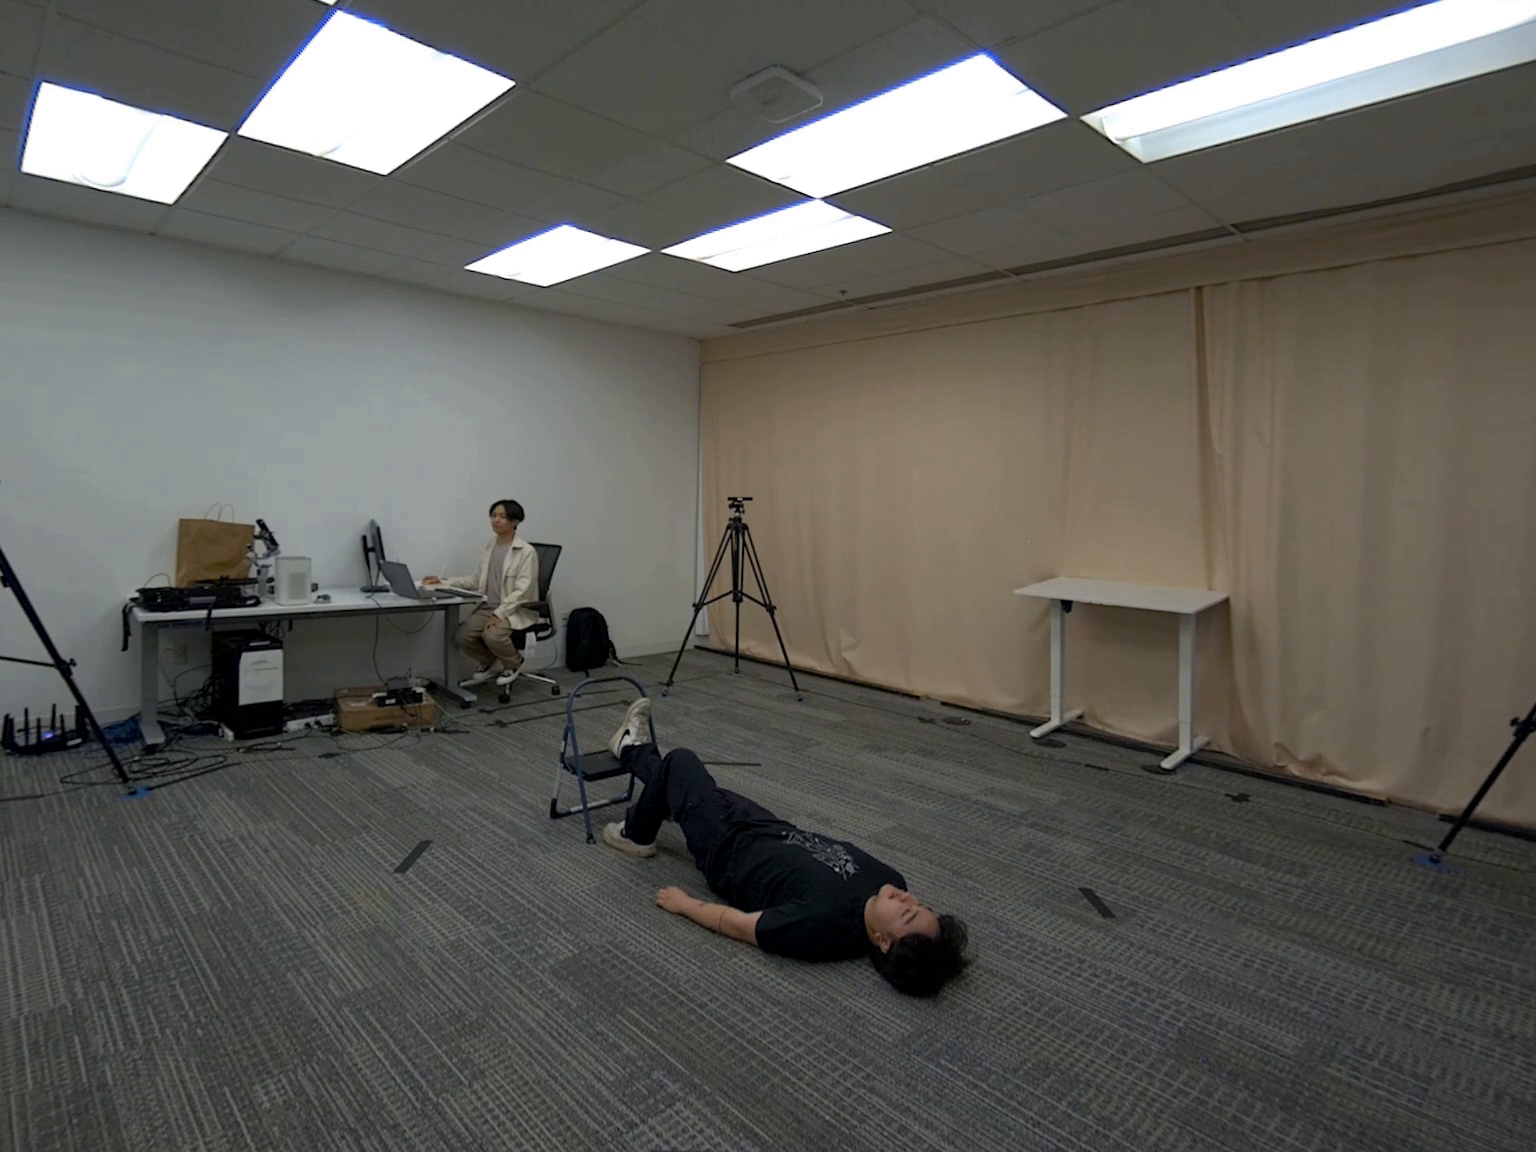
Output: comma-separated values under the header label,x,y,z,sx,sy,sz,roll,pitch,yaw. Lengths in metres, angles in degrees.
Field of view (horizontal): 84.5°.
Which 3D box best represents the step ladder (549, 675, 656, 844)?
label,x,y,z,sx,sy,sz,roll,pitch,yaw
step ladder,-0.677,0.752,3.619,0.420,0.605,0.358,-1,4,-43
